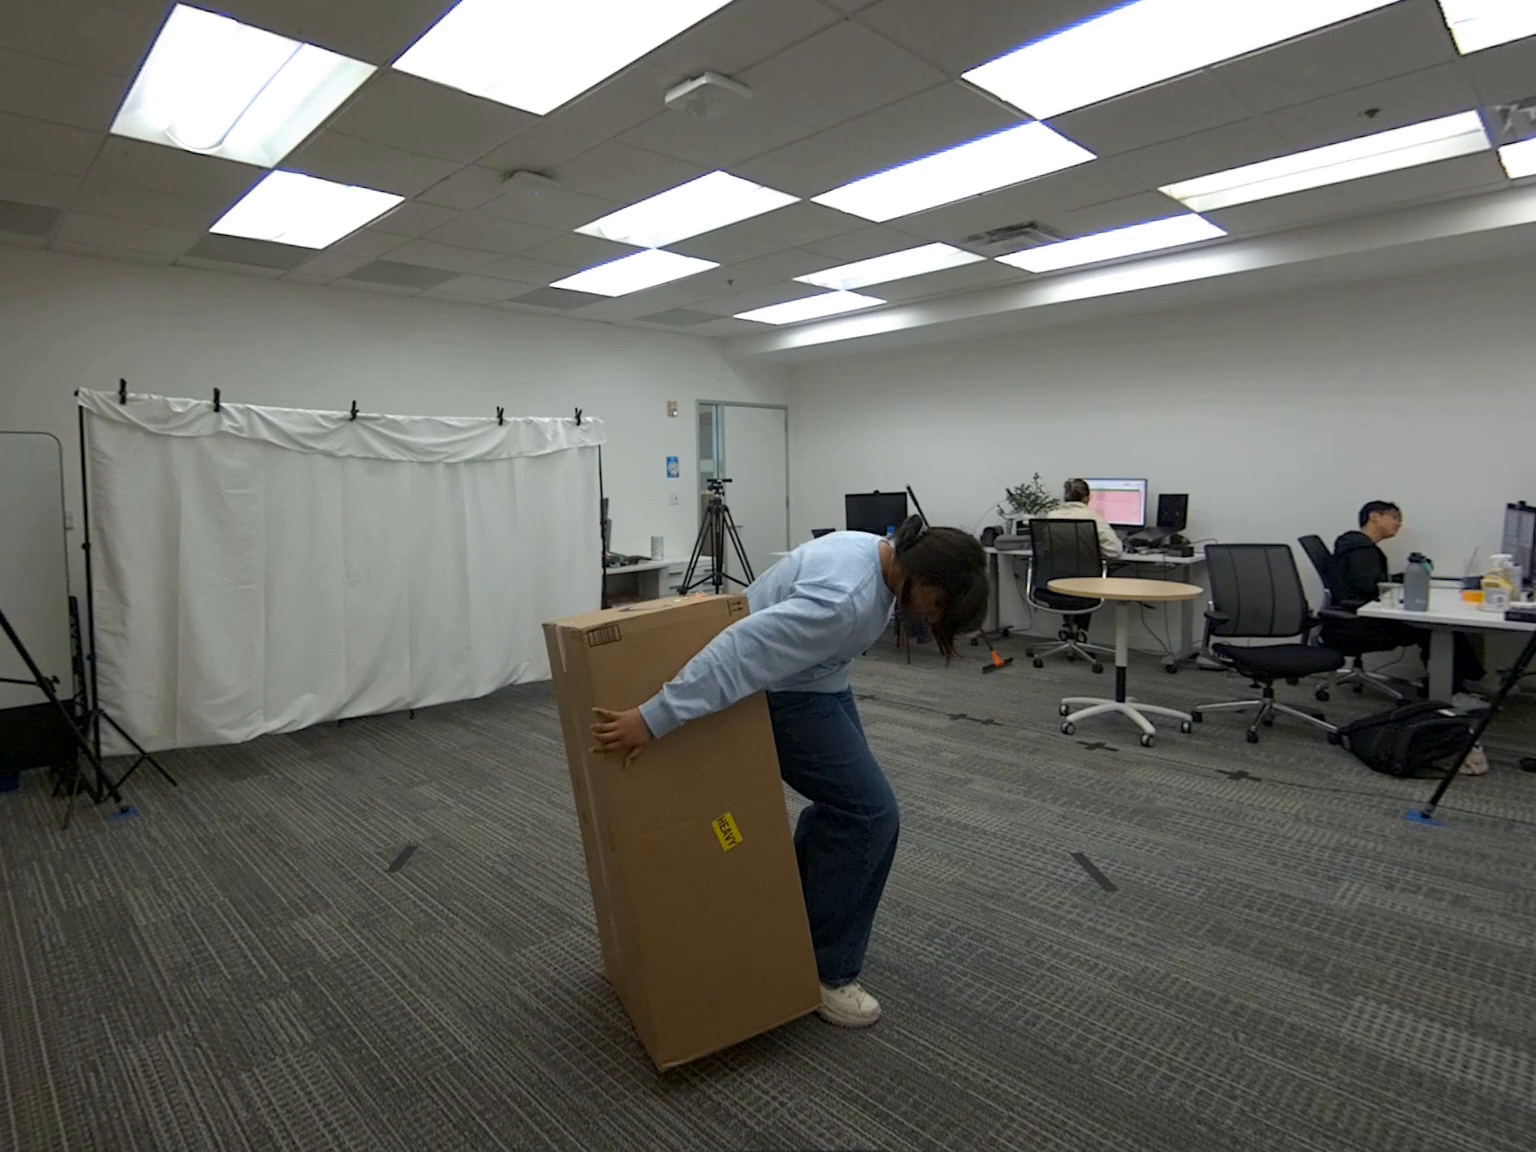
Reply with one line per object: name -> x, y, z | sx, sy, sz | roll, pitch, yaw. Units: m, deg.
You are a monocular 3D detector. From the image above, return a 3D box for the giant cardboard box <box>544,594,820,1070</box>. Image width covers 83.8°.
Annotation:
giant cardboard box -> -0.254, 0.592, 2.277 | 0.419, 1.027, 0.586 | -10, 0, -22
